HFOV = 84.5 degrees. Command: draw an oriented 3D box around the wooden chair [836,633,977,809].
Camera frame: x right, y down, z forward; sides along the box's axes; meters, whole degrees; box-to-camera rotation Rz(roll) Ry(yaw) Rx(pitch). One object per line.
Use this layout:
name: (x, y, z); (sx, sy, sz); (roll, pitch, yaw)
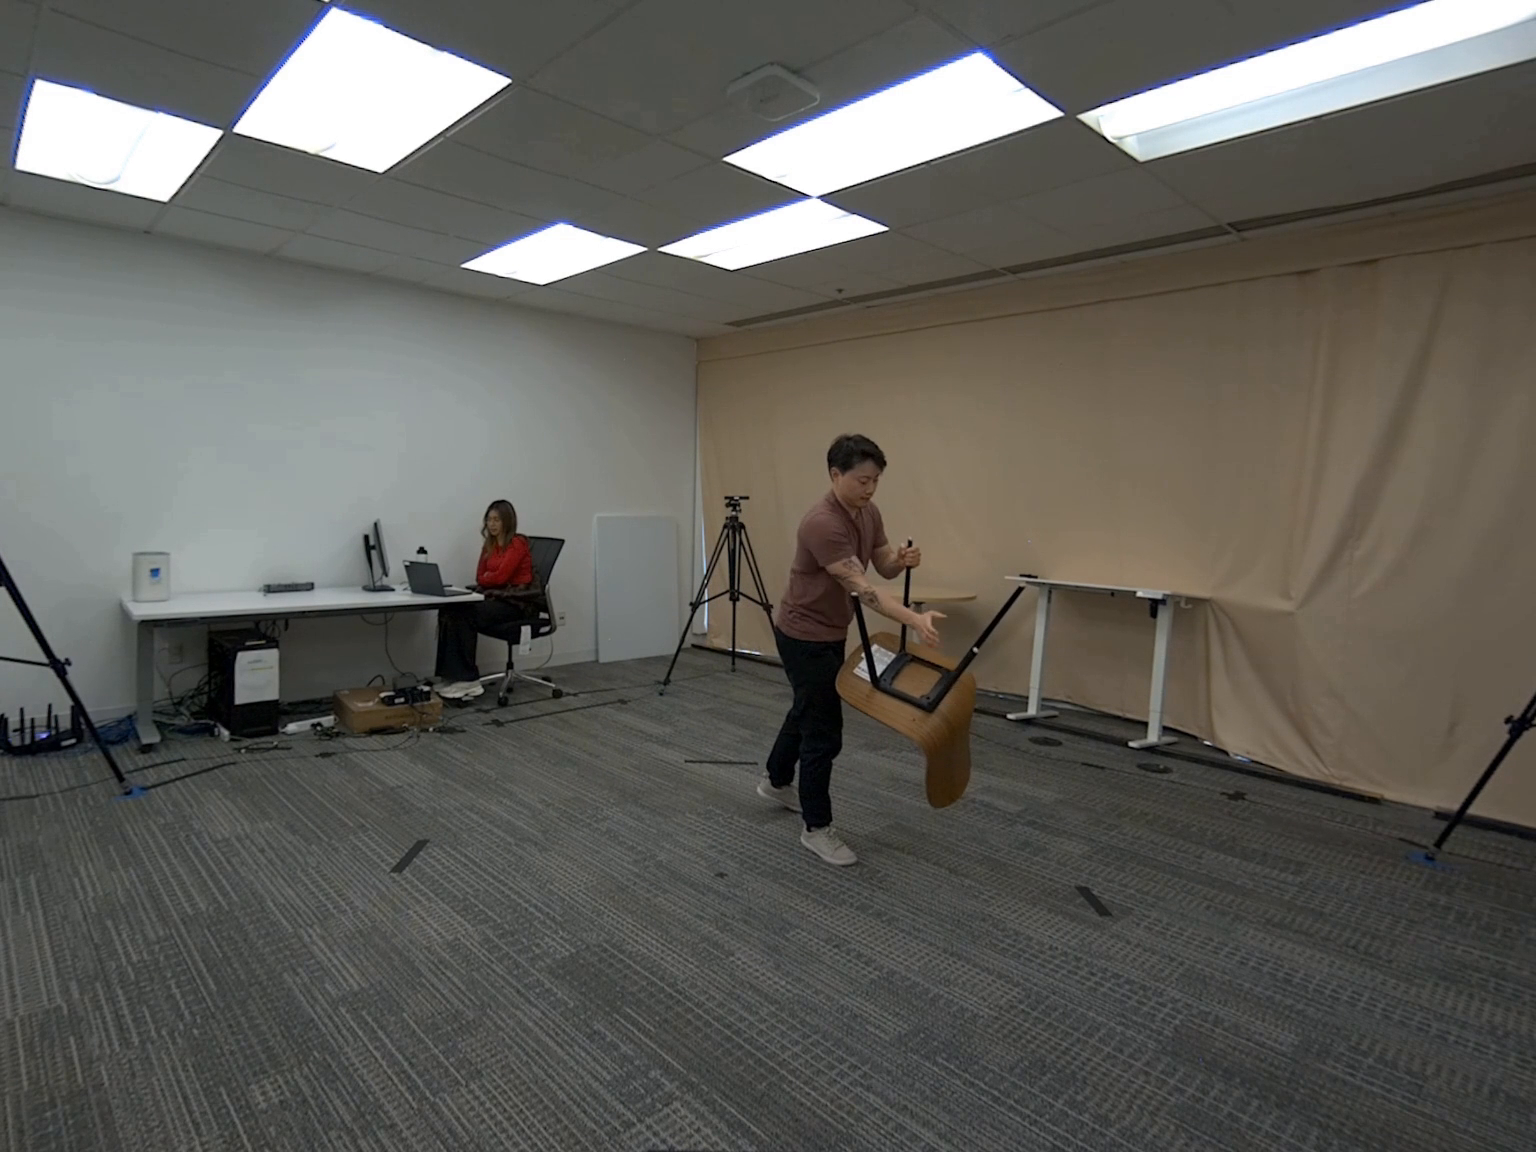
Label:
wooden chair: (0.533, 0.384, 3.159); (0.536, 0.860, 0.475); (21, 39, 28)
